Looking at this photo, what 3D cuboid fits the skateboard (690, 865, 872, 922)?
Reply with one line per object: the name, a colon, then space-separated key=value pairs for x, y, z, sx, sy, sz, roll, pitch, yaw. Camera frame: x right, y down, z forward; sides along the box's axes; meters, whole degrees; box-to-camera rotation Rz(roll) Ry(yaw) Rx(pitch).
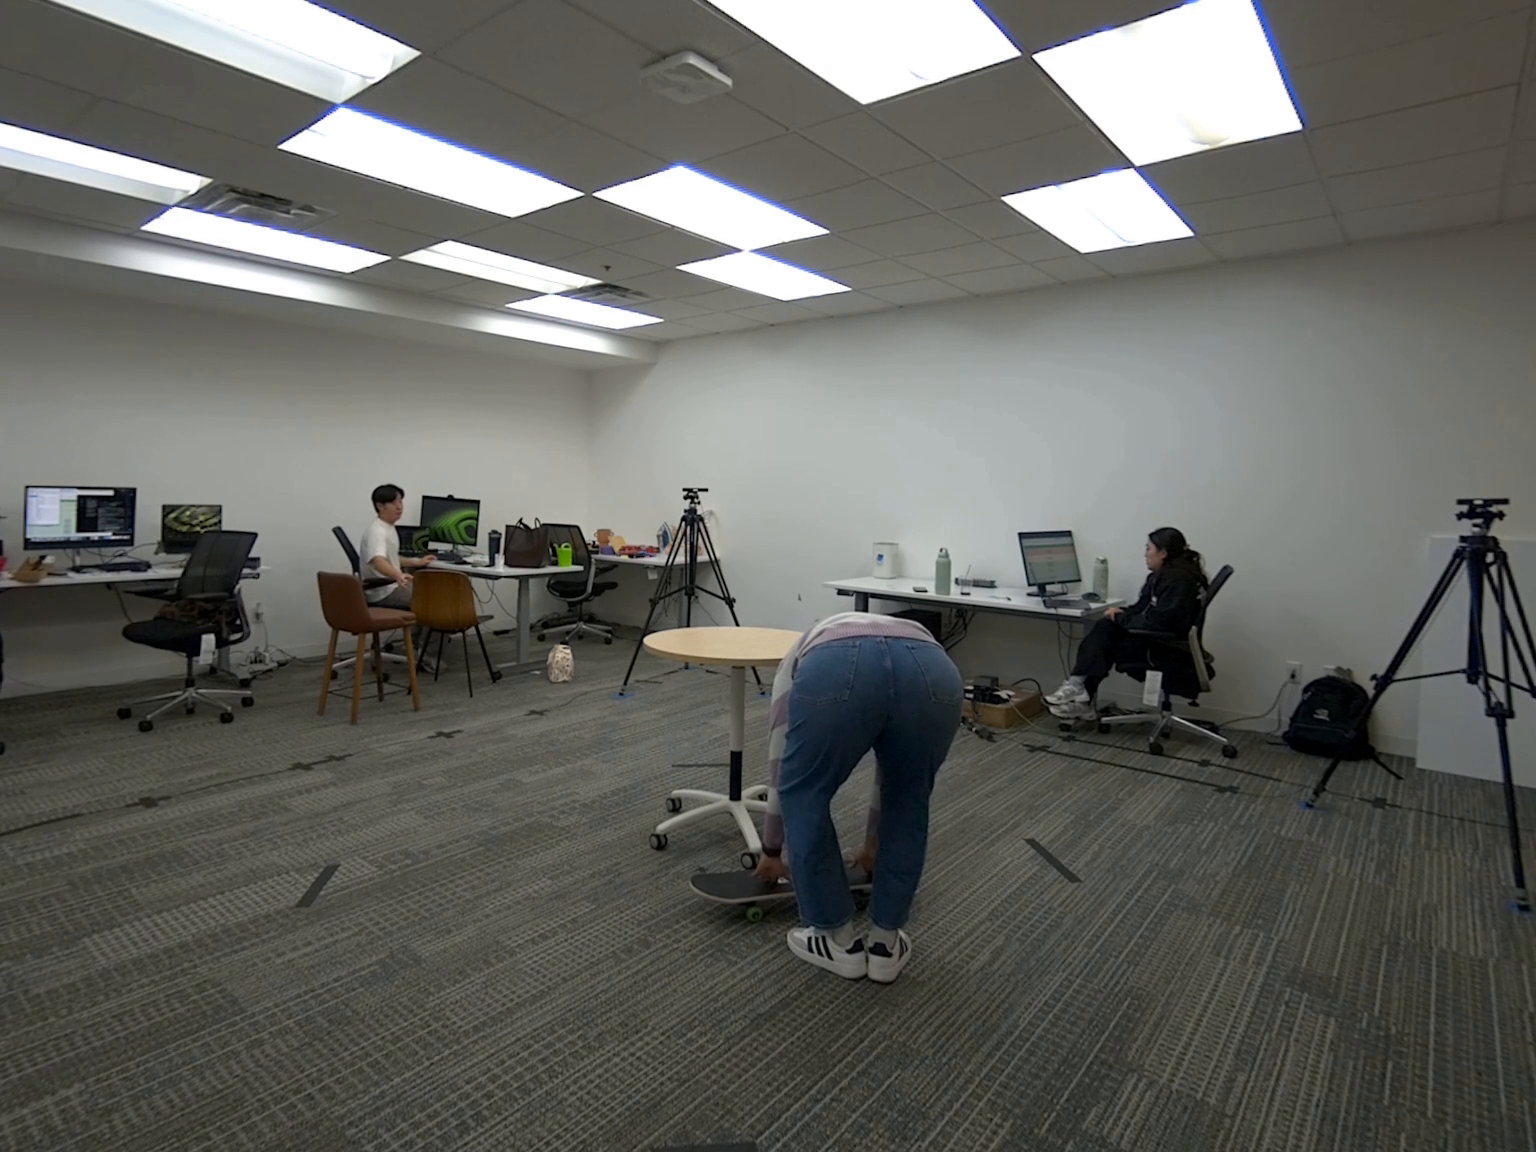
skateboard: x=0.113 y=1.043 z=2.860 sx=0.772 sy=0.110 sz=0.197 roll=0 pitch=4 yaw=-16
